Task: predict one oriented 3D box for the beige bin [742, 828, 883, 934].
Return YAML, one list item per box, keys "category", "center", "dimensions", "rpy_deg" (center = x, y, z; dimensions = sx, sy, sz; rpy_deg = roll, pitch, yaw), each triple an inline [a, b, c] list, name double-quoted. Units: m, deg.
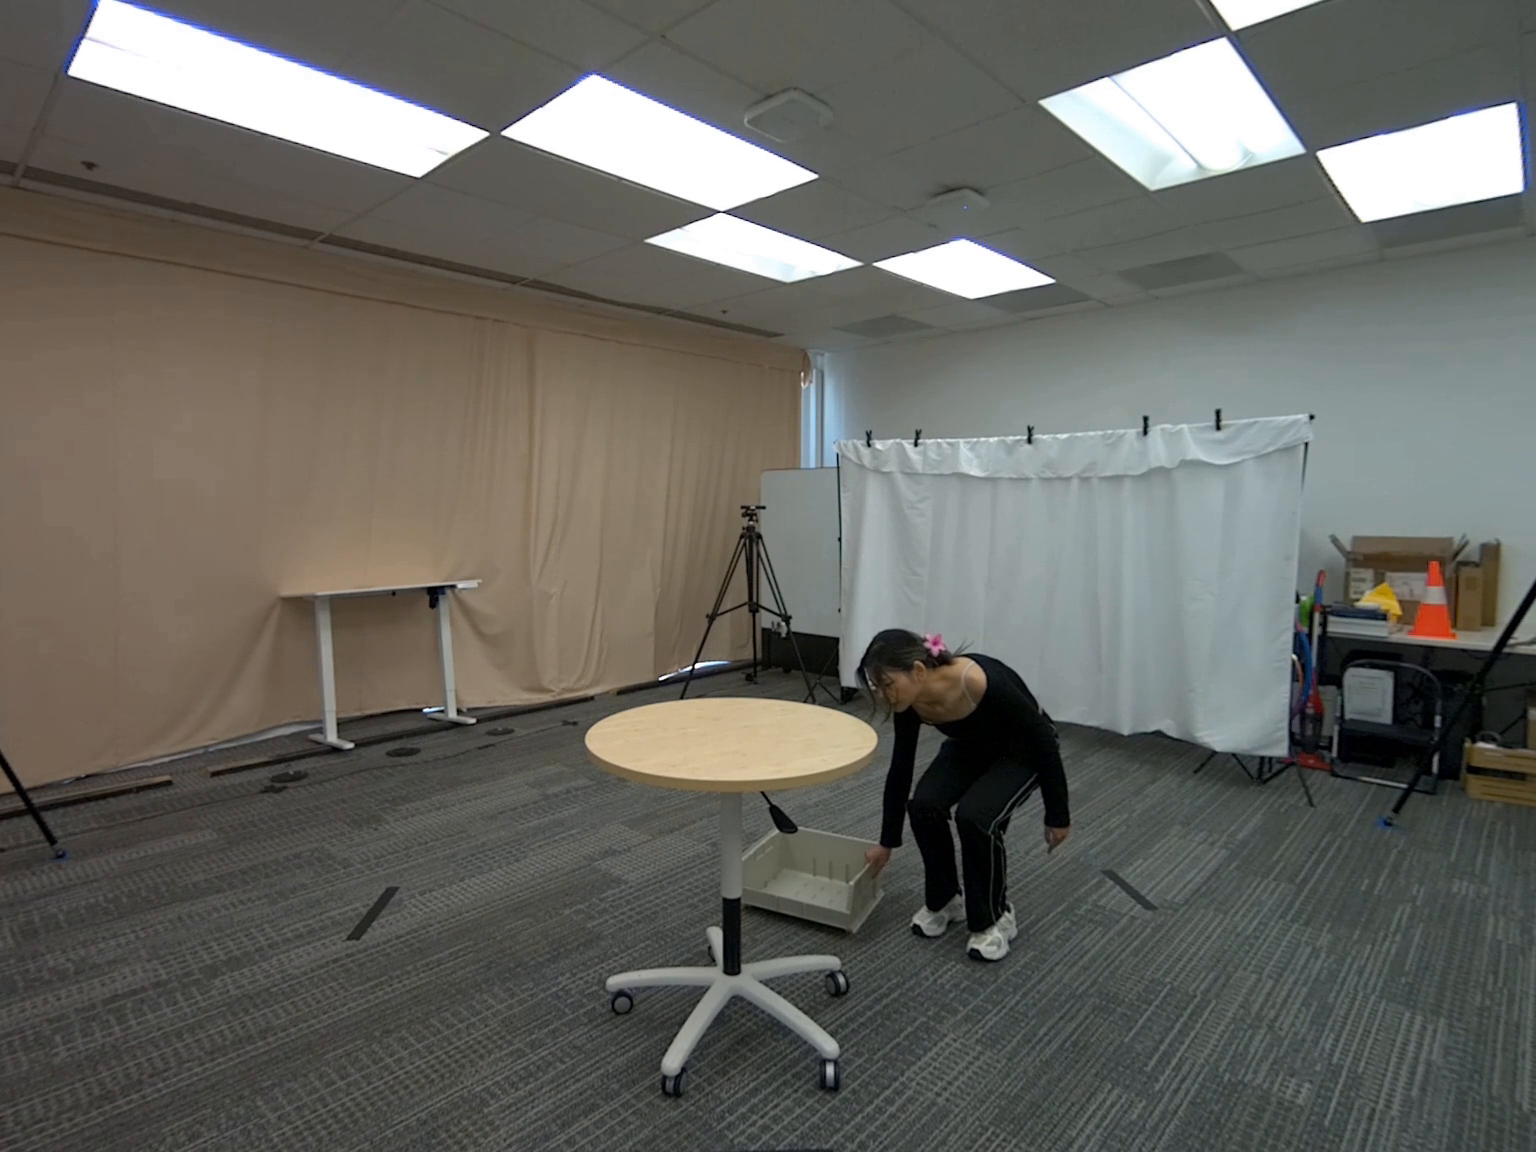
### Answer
- category: "beige bin"
  center: [0.160, 1.057, 2.950]
  dimensions: [0.434, 0.189, 0.368]
  rpy_deg: [1, 4, 28]
